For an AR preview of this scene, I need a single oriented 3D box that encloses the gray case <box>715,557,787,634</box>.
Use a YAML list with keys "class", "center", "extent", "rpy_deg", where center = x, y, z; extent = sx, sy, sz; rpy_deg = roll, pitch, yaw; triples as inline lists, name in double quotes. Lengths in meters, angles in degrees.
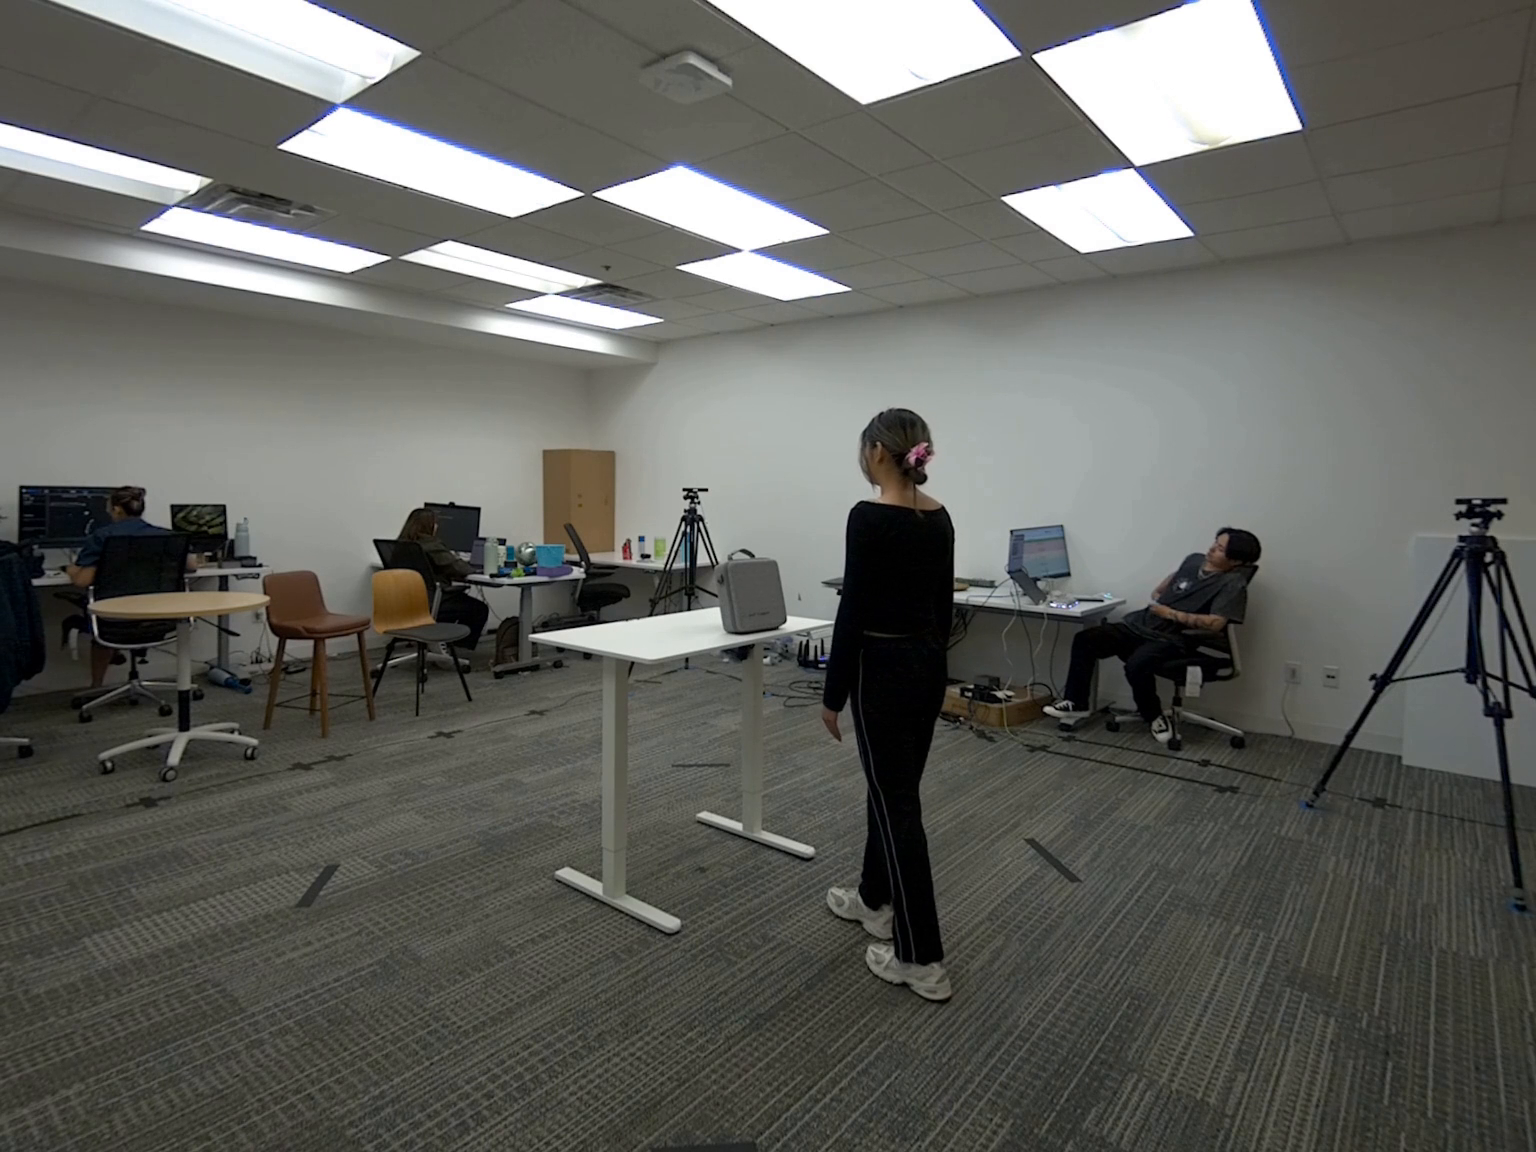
- class: "gray case"
  center: [-0.073, 0.062, 3.055]
  extent: [0.249, 0.263, 0.107]
  rpy_deg: [-3, -9, -43]
